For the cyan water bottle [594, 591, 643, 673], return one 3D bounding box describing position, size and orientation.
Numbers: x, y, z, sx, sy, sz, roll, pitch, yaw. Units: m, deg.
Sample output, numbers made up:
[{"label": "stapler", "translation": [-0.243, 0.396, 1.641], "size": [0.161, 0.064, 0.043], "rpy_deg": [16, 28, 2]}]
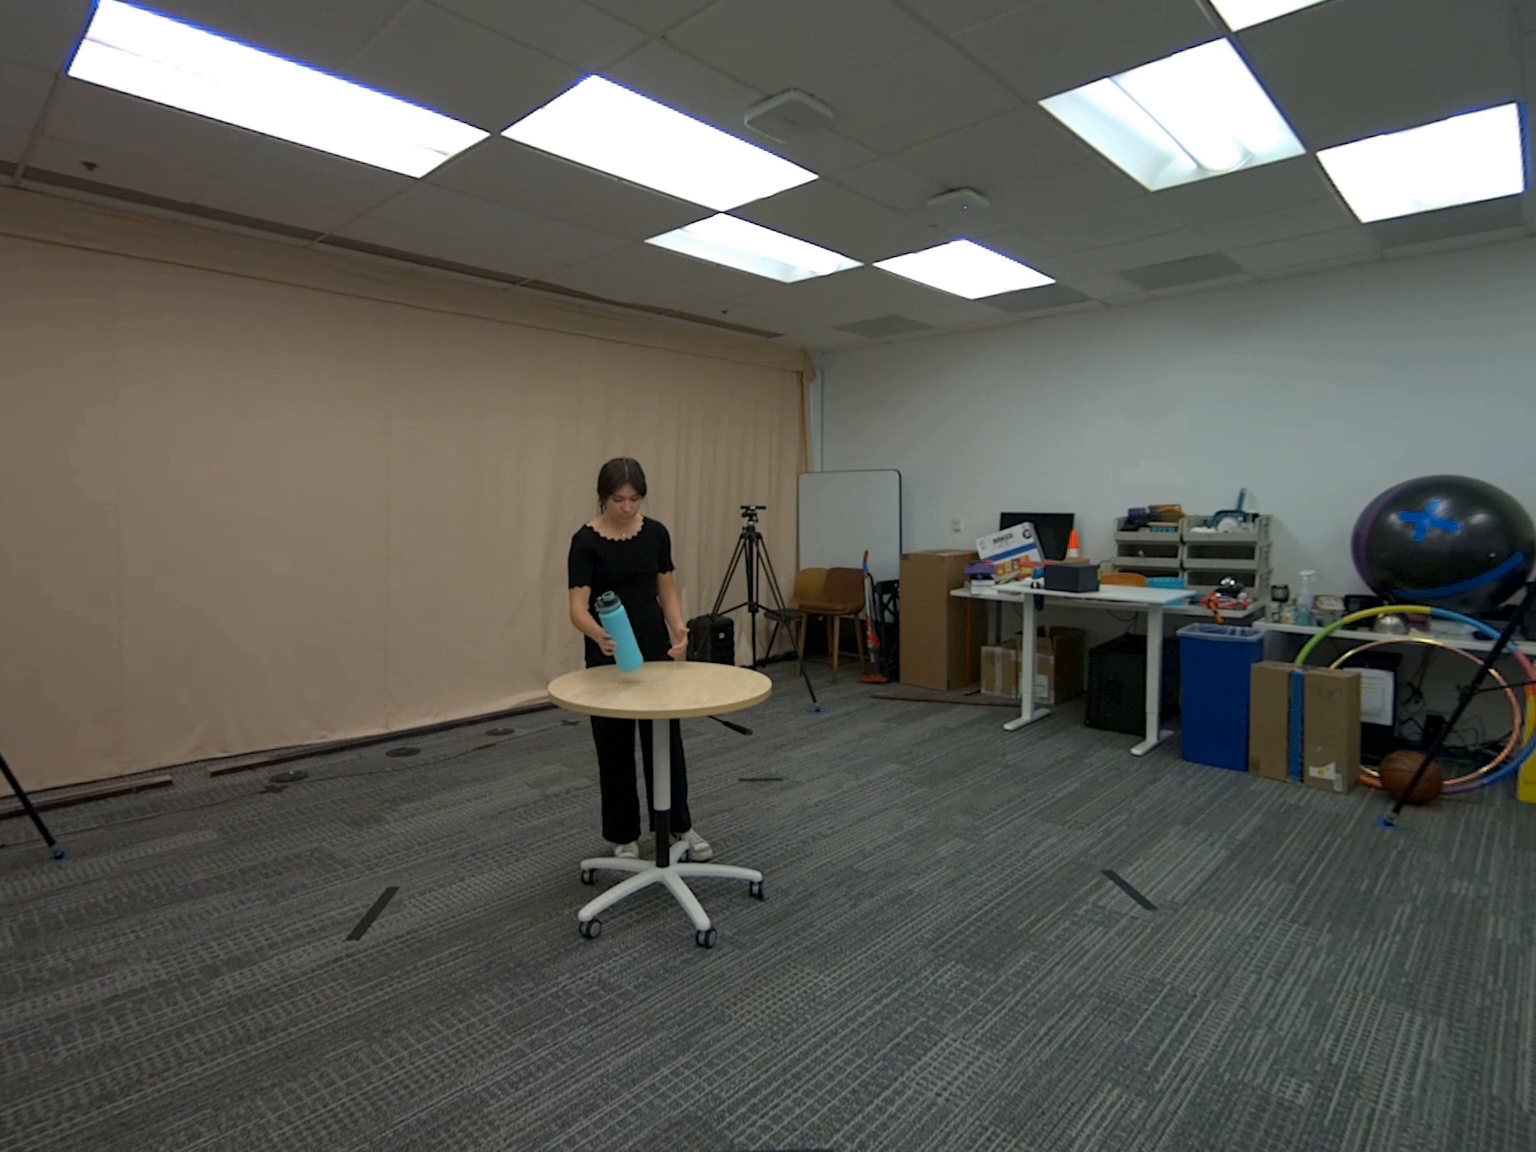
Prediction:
[{"label": "cyan water bottle", "translation": [-0.509, 0.194, 2.865], "size": [0.093, 0.278, 0.093], "rpy_deg": [-16, 19, 4]}]
